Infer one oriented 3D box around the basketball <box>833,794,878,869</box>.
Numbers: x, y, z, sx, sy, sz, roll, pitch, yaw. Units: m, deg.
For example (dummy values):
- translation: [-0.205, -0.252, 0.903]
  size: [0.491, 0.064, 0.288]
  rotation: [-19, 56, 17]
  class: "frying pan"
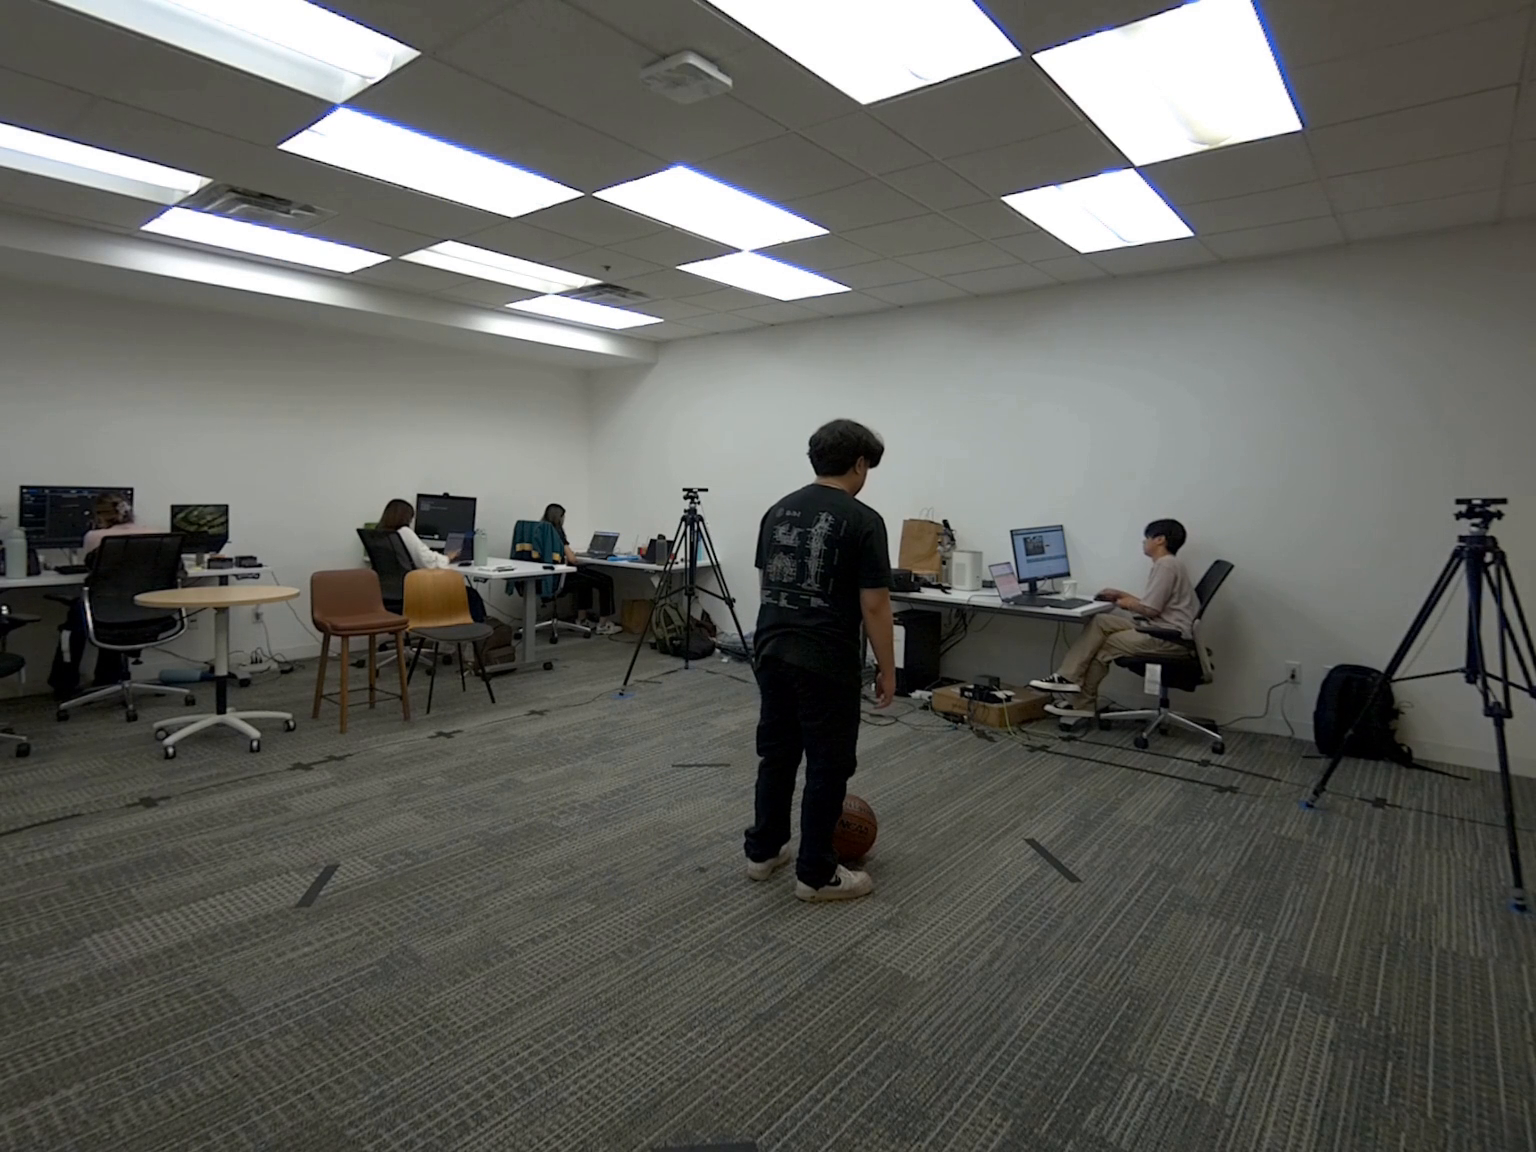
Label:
- translation: [0.291, 0.947, 3.240]
  size: [0.235, 0.235, 0.237]
  rotation: [1, 4, -2]
  class: "basketball"
